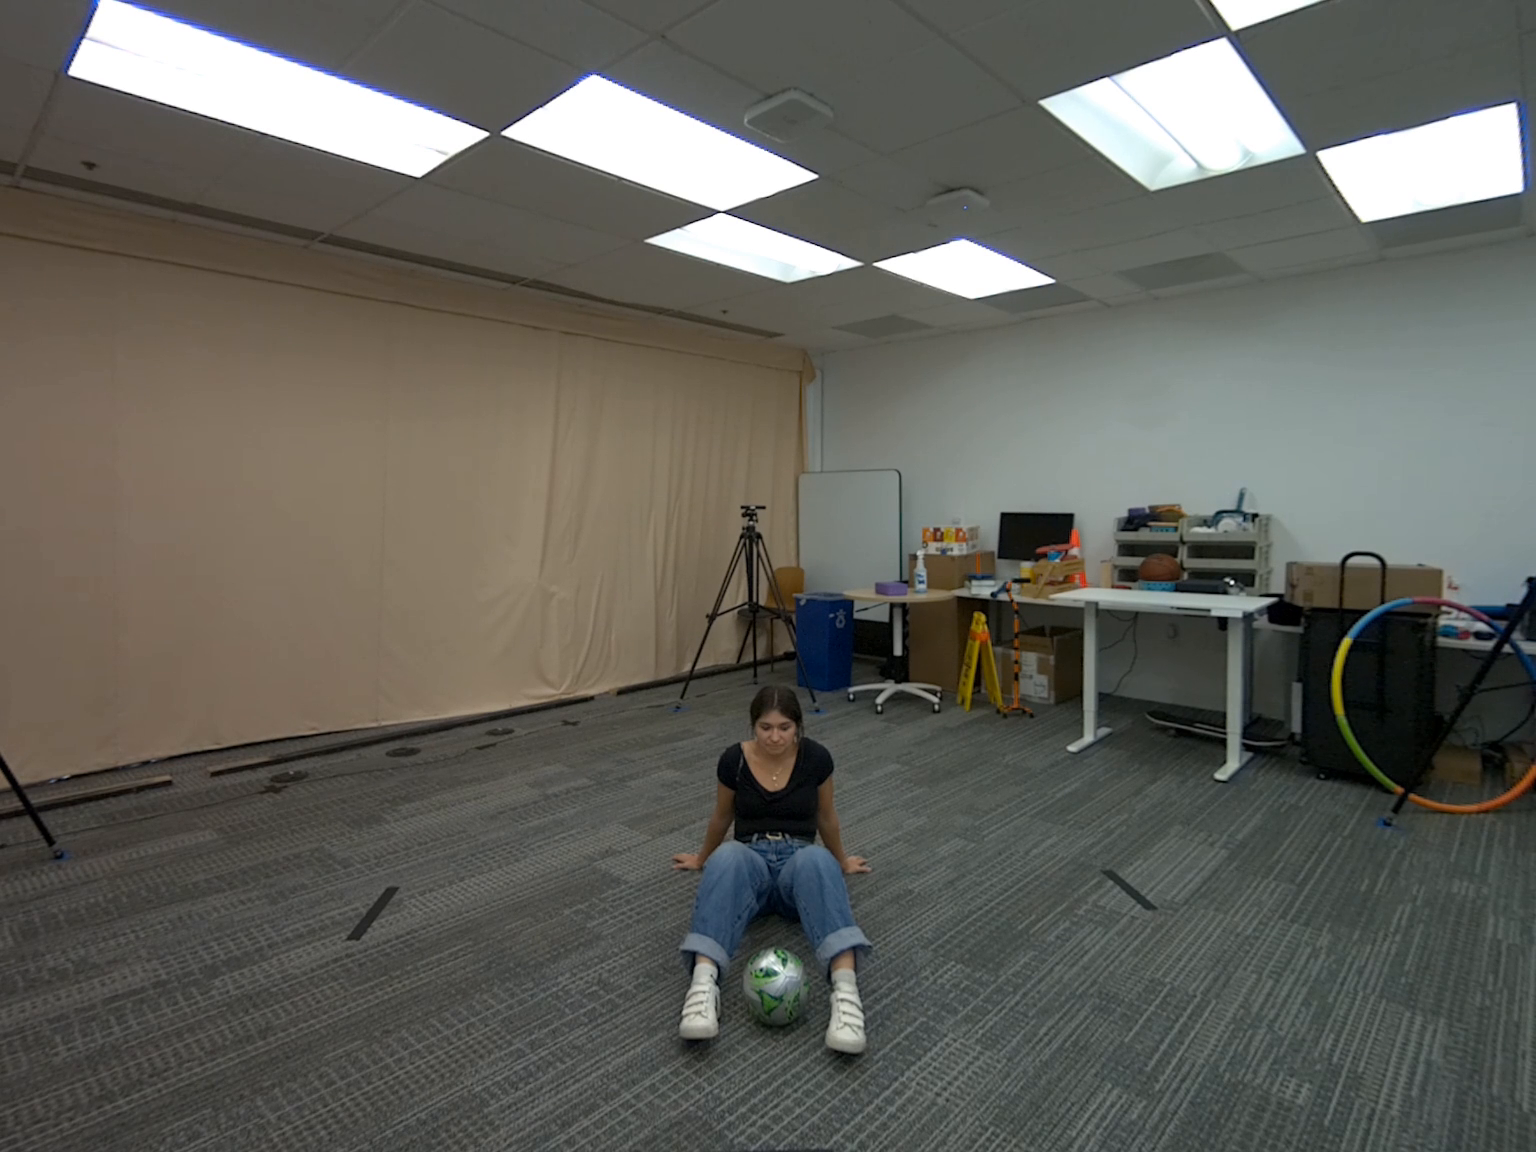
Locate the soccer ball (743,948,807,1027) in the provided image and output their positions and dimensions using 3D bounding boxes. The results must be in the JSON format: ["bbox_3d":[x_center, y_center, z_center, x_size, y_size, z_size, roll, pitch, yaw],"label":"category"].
[{"bbox_3d":[0.028,1.104,2.282,0.187,0.187,0.188,3,4,-2],"label":"soccer ball"}]
